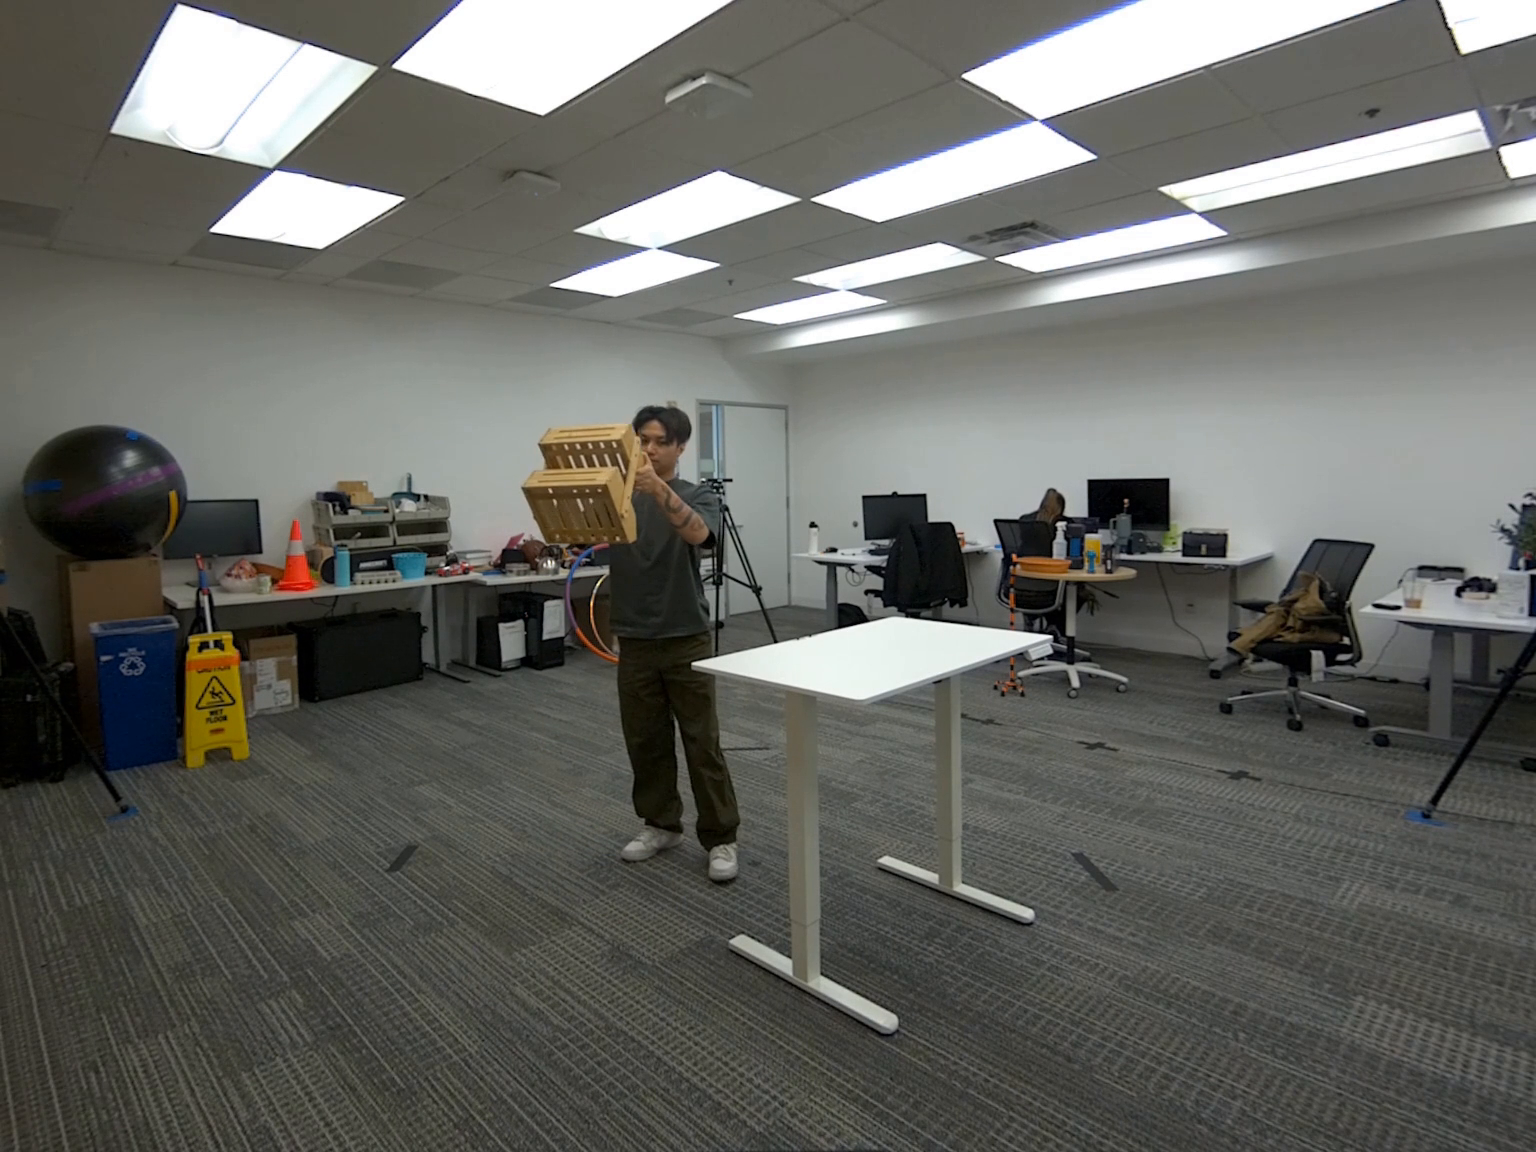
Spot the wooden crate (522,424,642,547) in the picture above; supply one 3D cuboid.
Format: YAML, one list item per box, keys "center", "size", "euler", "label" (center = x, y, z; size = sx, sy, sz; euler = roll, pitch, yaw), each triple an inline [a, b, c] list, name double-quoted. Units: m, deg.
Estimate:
- center: [-0.571, -0.287, 2.751]
  size: [0.330, 0.292, 0.277]
  euler: [-1, 42, 20]
  label: "wooden crate"
